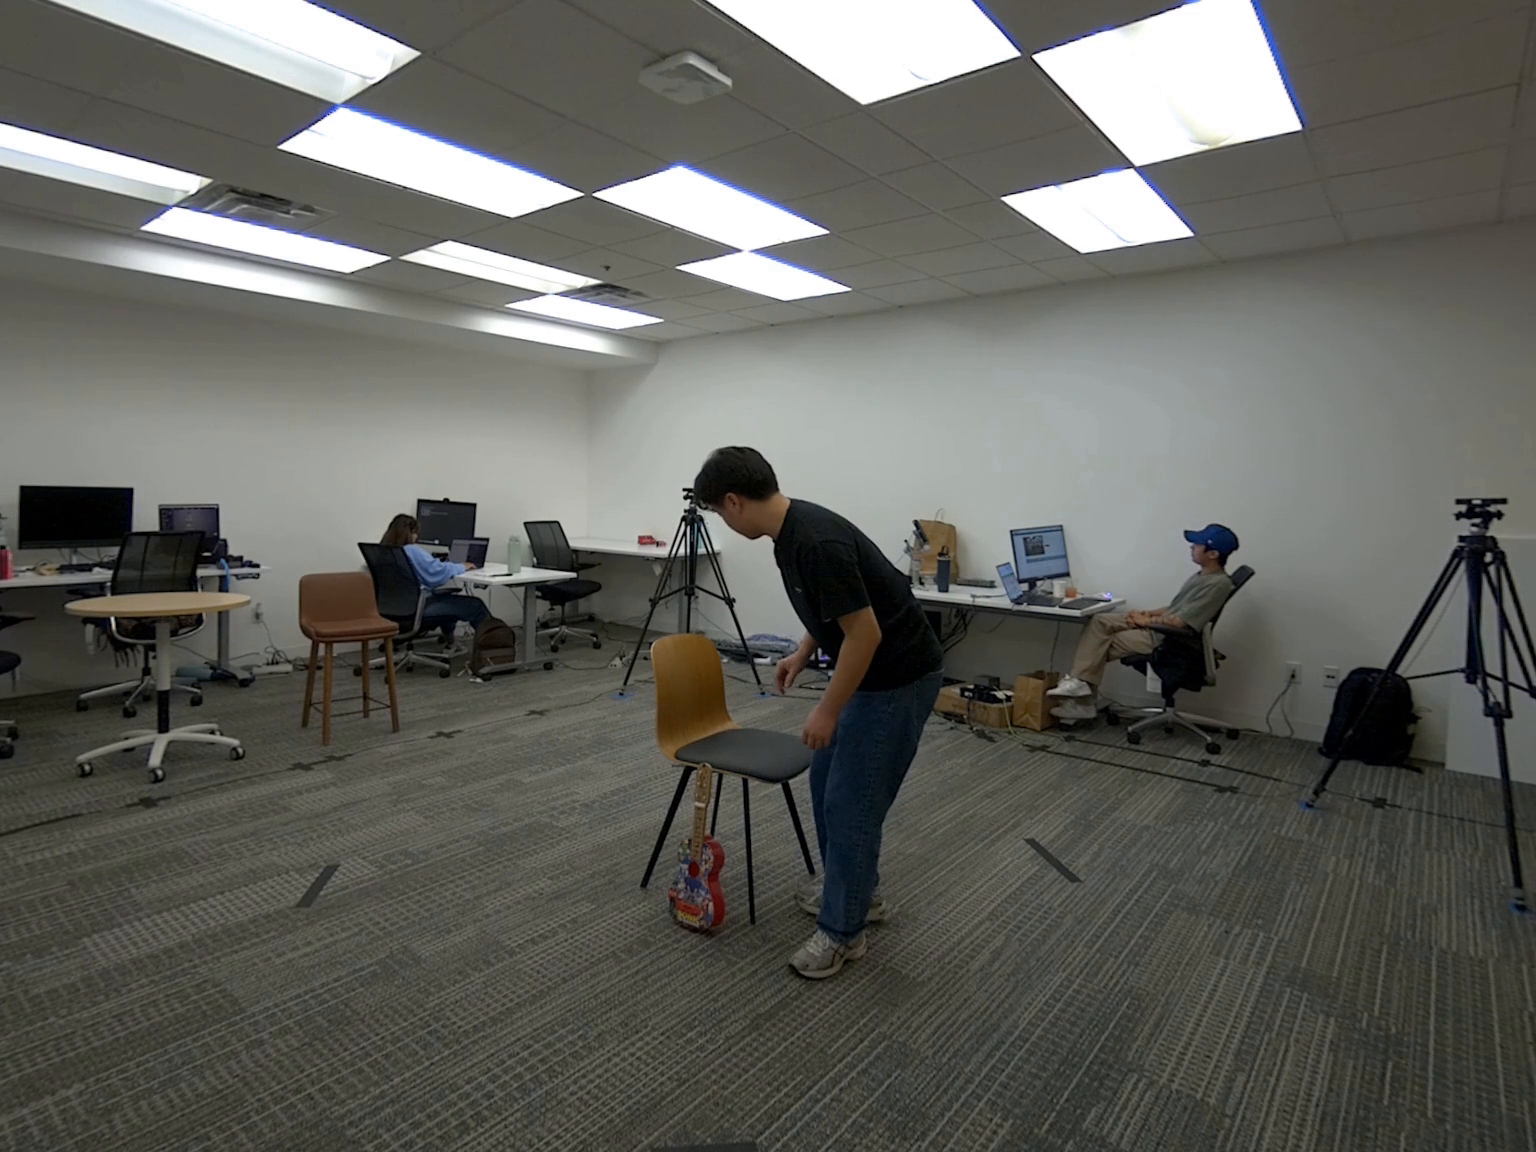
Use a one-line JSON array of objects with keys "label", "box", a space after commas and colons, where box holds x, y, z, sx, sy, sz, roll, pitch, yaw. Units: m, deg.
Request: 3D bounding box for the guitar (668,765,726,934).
[{"label": "guitar", "box": [-0.198, 0.863, 2.707, 0.200, 0.499, 0.068, 11, -4, 36]}]
